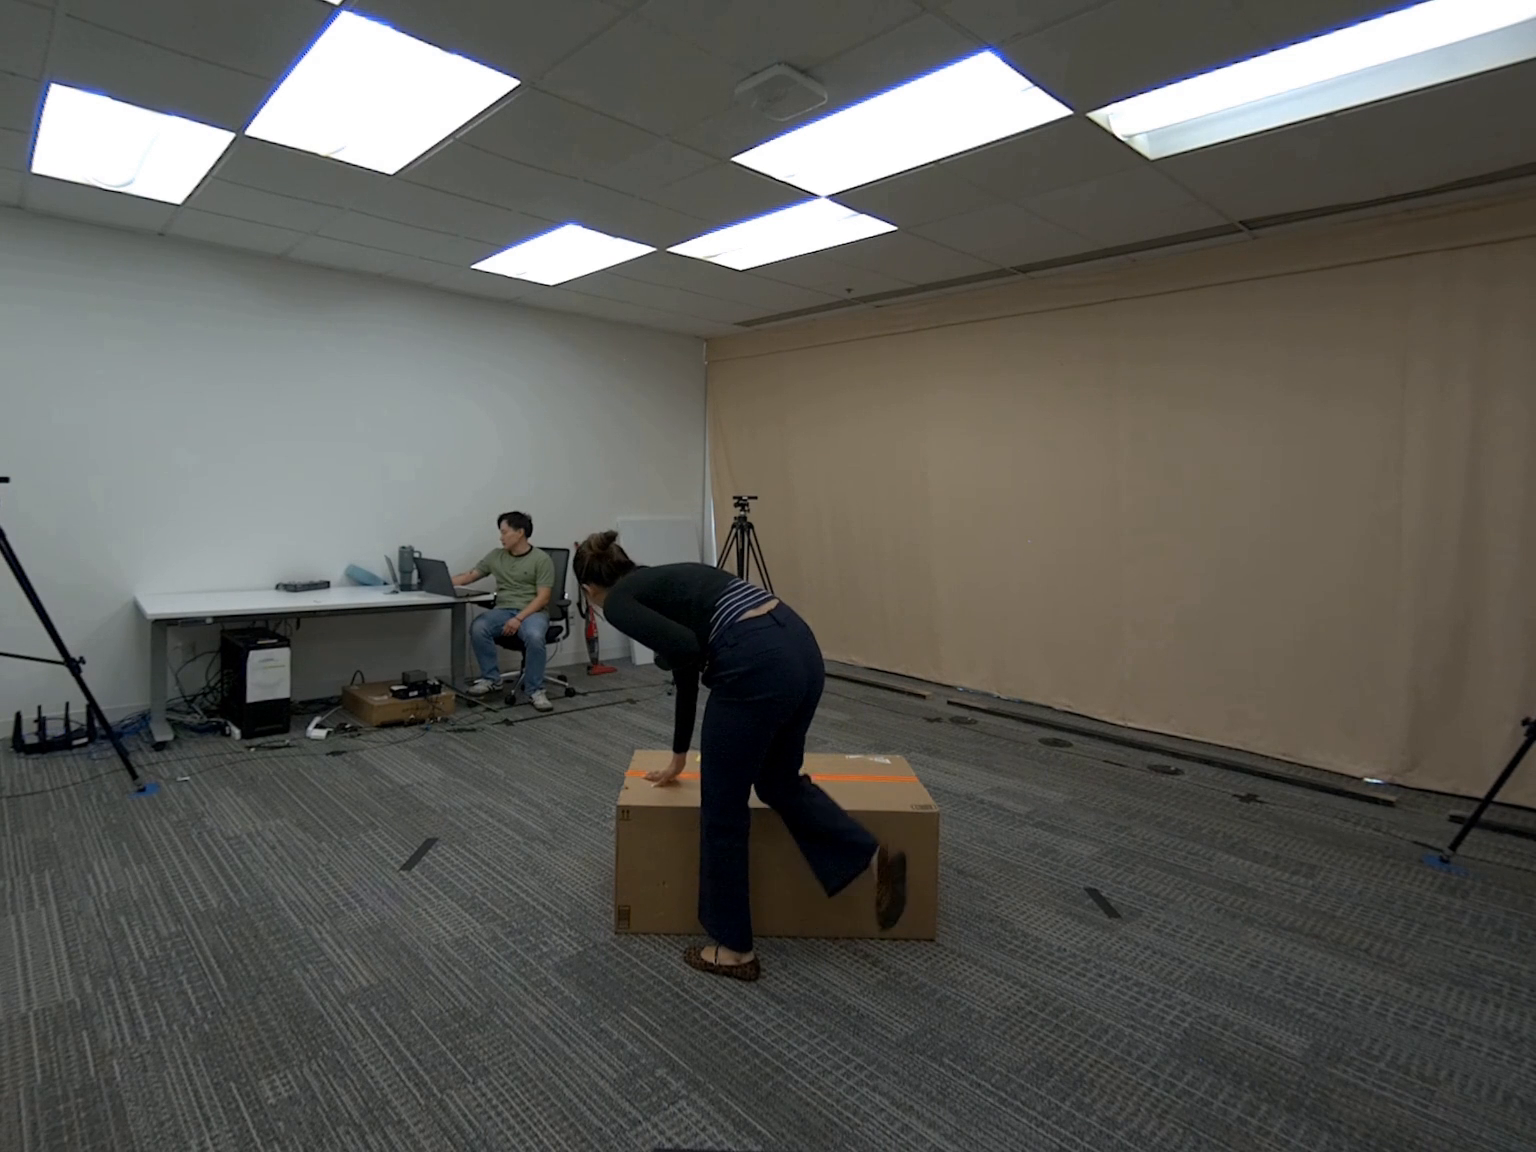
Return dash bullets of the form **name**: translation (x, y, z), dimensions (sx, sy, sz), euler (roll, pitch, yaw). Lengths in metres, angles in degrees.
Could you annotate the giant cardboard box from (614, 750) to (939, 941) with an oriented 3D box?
- **giant cardboard box**: translation (0.010, 0.907, 2.936), dimensions (1.025, 0.425, 0.579), euler (1, 4, -1)
